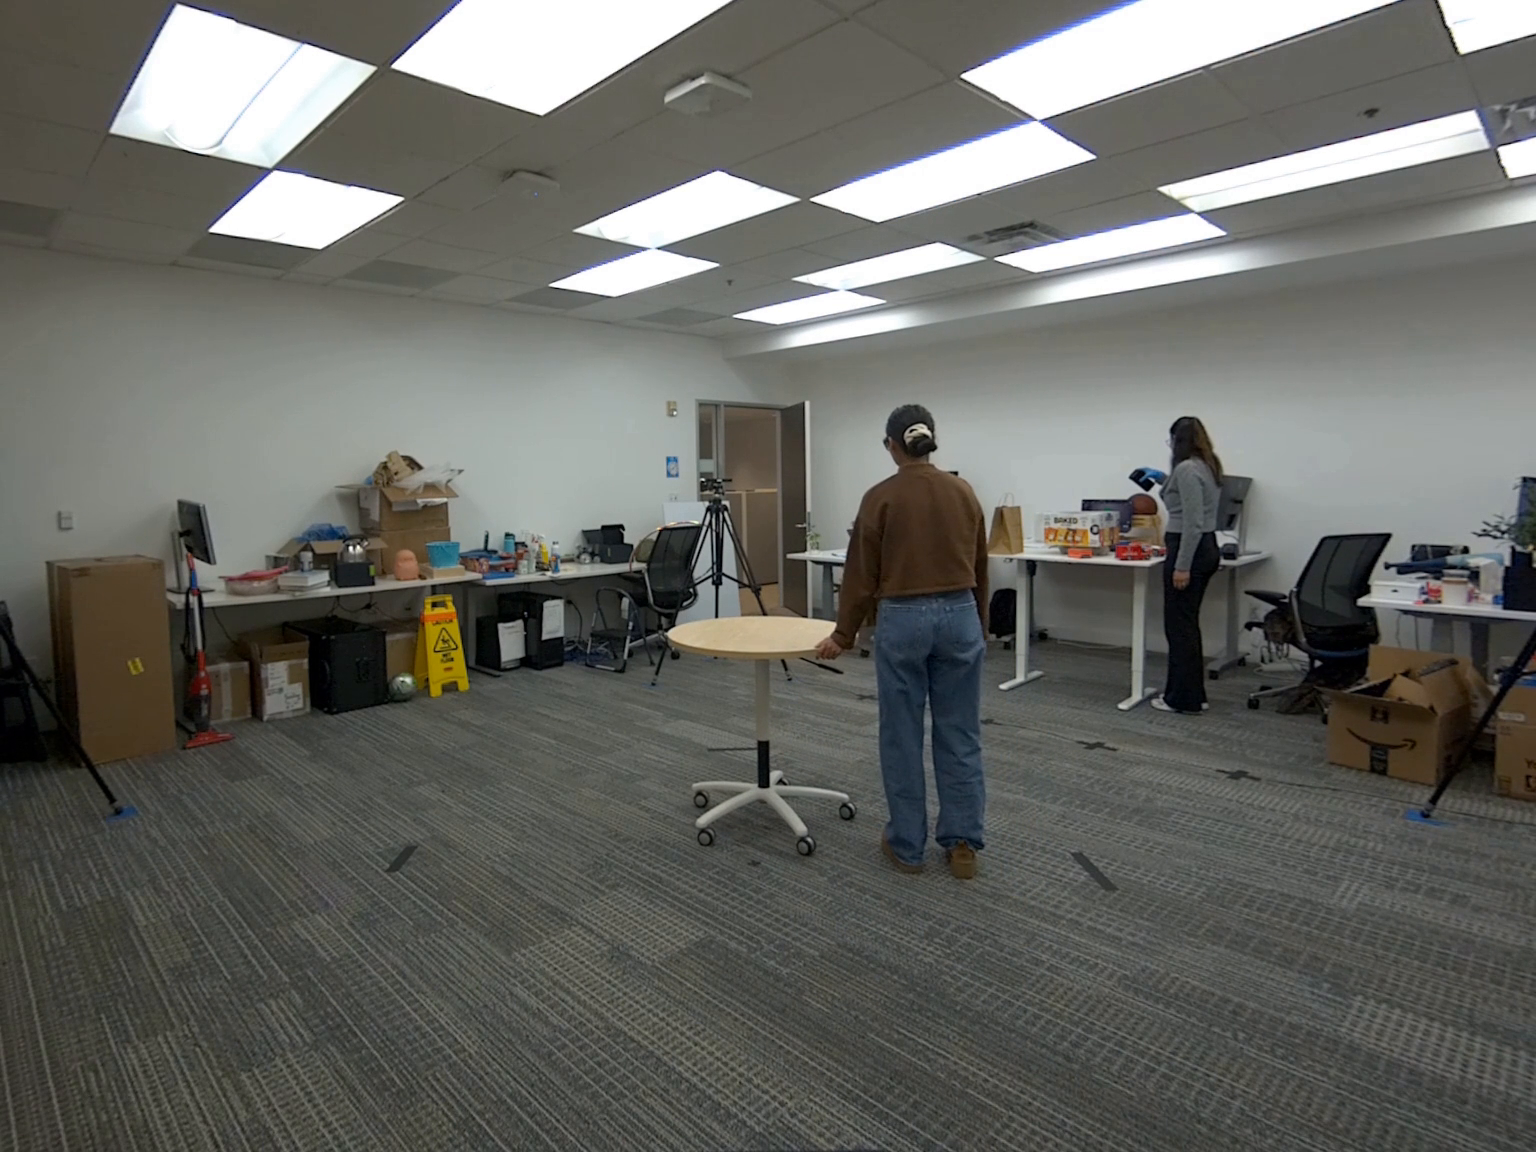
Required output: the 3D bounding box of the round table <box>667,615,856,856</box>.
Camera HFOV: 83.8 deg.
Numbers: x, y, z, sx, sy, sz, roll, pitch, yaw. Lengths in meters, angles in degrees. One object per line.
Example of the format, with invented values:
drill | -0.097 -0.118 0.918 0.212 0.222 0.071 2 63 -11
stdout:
round table | -0.011 0.615 3.479 0.763 0.791 0.768 -1 5 -2
